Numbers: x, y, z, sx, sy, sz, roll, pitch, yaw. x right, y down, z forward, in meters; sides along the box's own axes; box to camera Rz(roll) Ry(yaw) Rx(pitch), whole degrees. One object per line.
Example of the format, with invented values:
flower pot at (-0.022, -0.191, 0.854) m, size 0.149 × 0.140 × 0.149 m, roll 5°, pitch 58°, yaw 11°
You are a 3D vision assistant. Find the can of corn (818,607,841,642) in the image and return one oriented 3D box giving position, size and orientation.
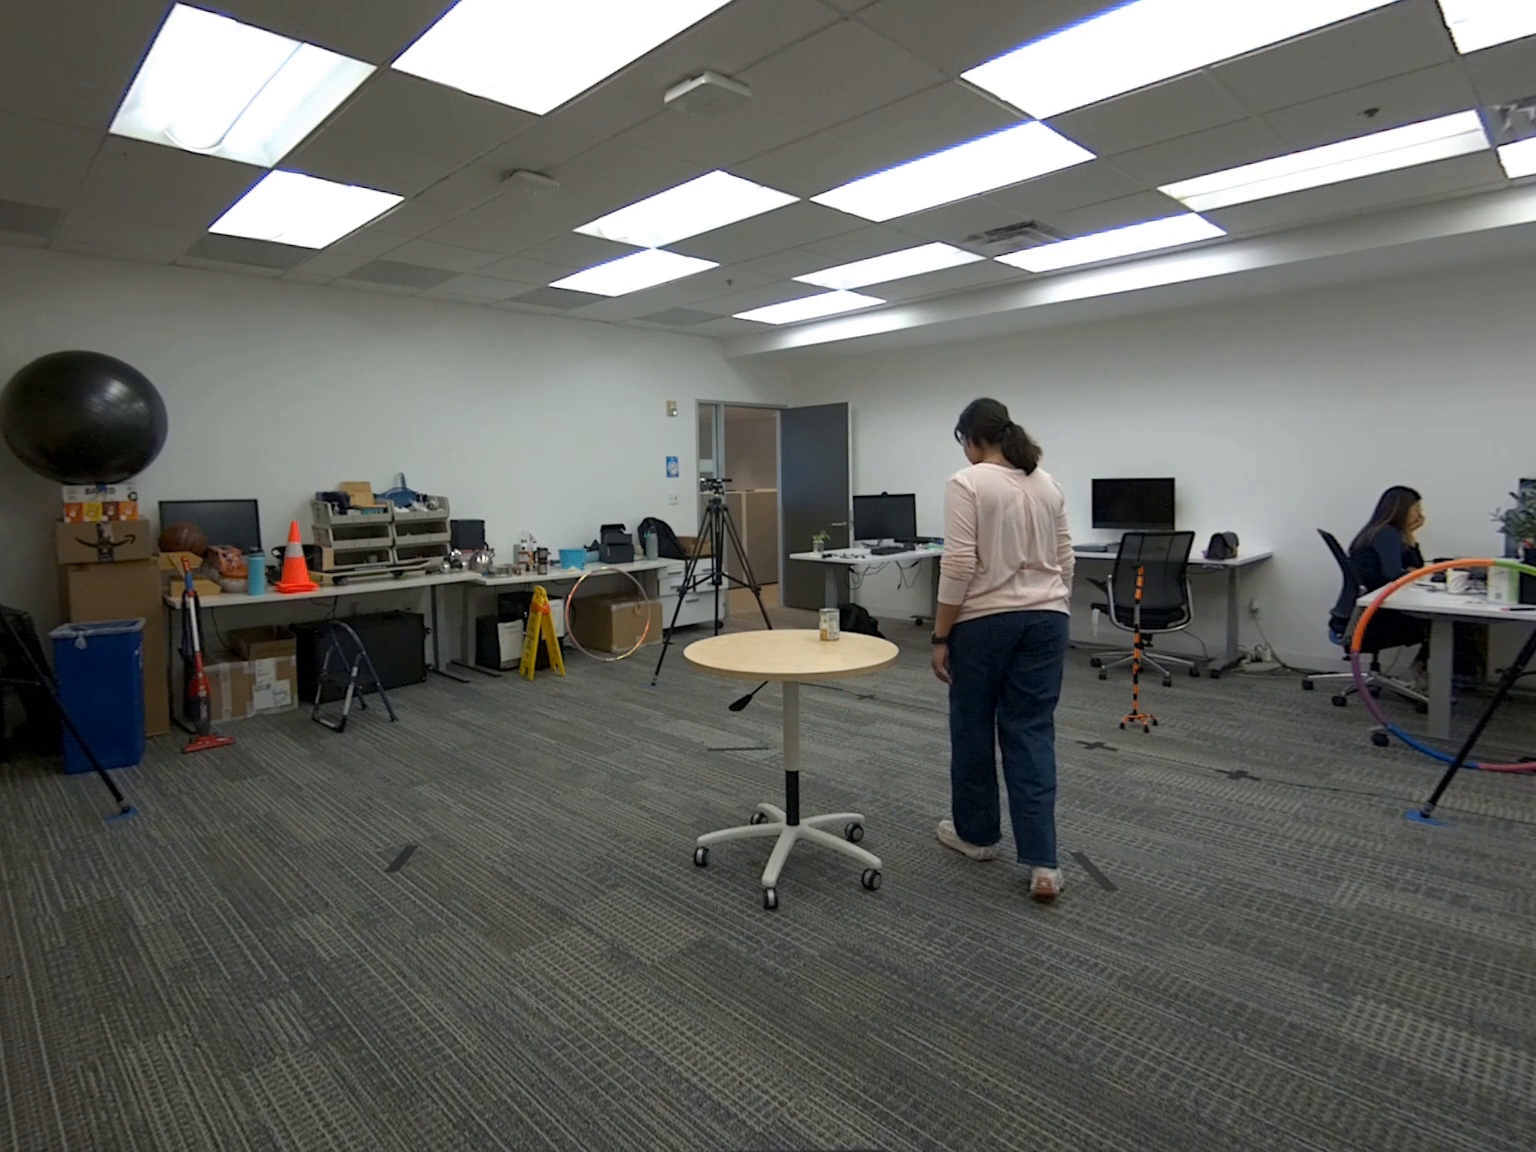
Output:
can of corn at (0.241, 0.184, 3.229) m, size 0.074 × 0.110 × 0.074 m, roll 0°, pitch 5°, yaw -2°
